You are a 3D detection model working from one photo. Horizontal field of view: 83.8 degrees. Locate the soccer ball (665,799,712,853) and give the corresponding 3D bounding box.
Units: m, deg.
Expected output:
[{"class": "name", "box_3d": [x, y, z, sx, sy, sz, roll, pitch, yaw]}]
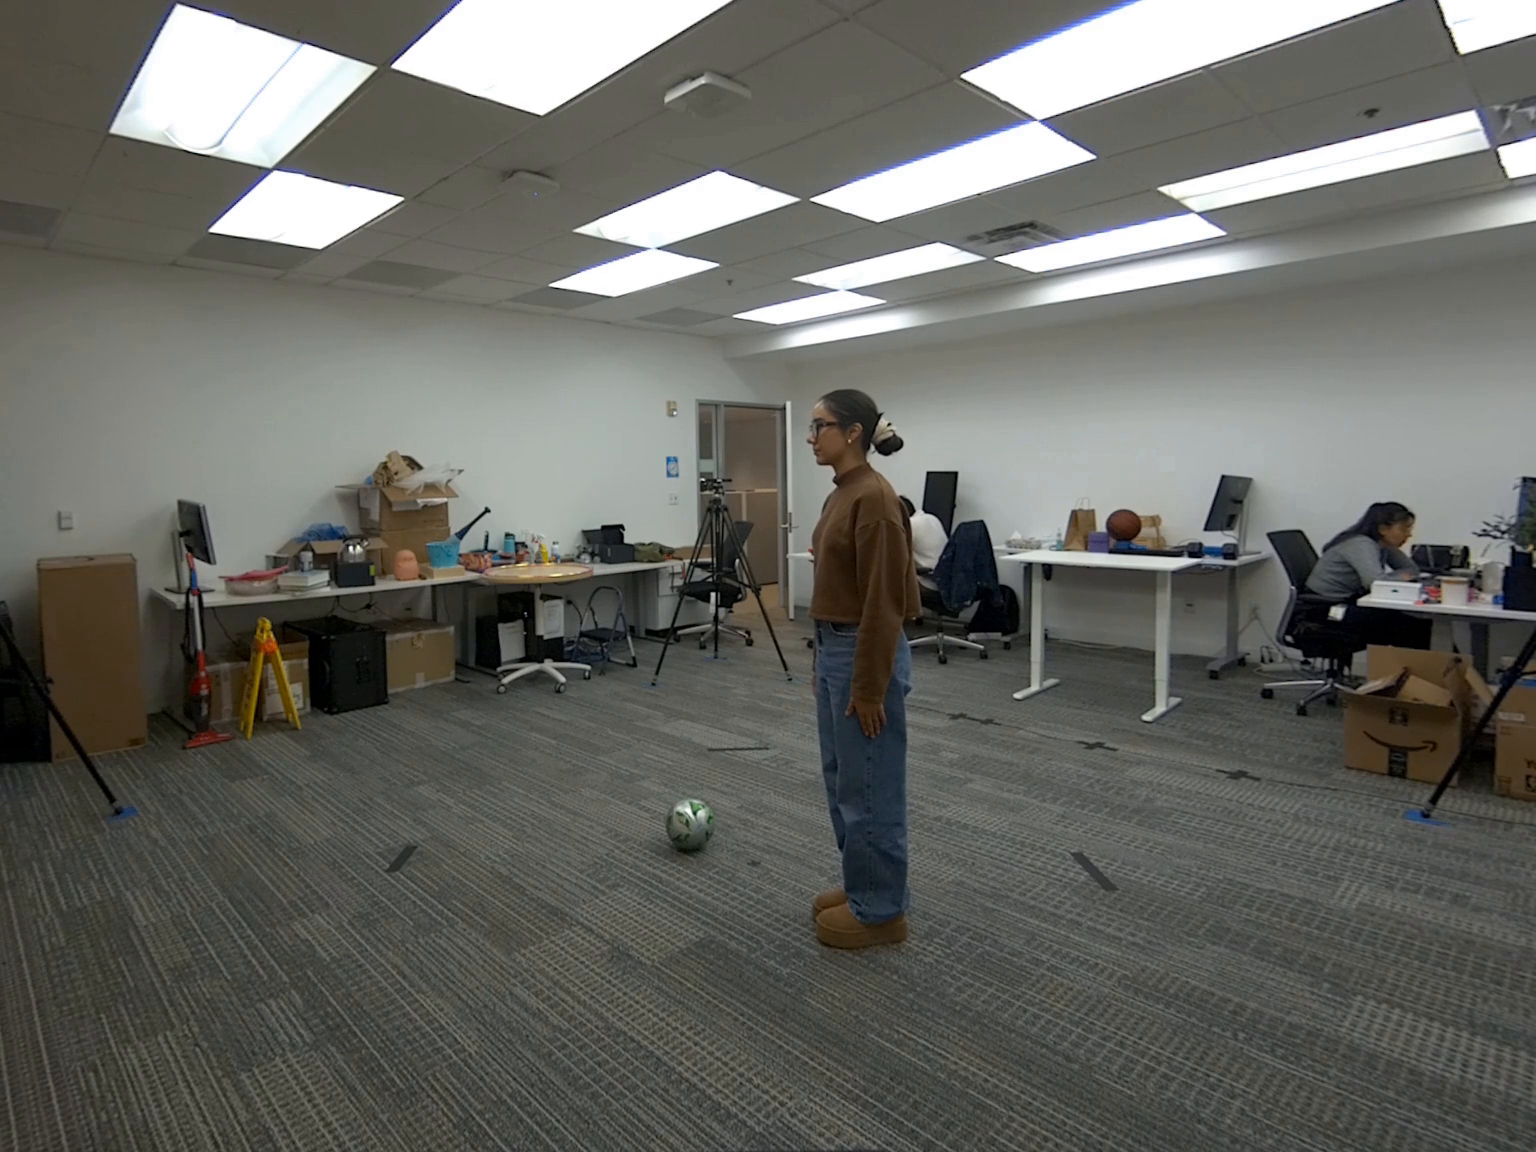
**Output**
[{"class": "soccer ball", "box_3d": [-0.293, 0.940, 3.240, 0.187, 0.187, 0.188, -1, 5, -2]}]
